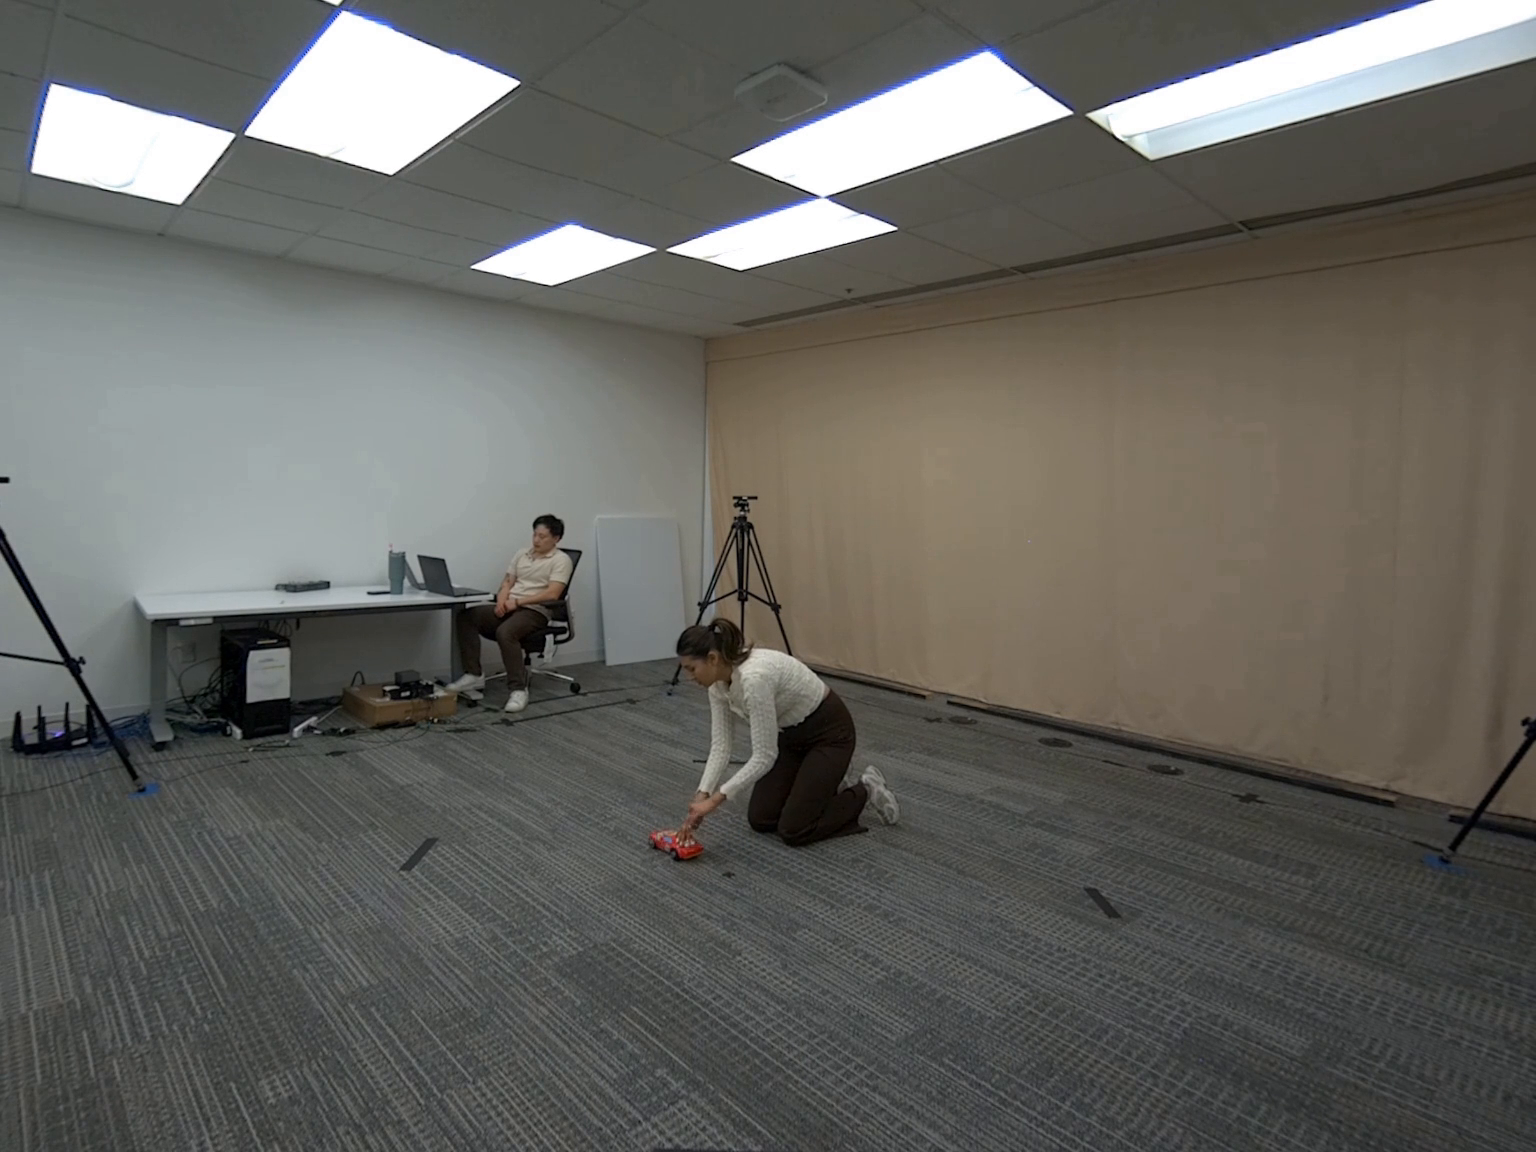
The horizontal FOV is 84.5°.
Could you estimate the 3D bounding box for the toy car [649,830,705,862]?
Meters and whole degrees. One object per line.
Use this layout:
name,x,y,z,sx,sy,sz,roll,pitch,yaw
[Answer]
toy car,-0.364,1.048,3.284,0.127,0.083,0.259,-2,-4,-42
